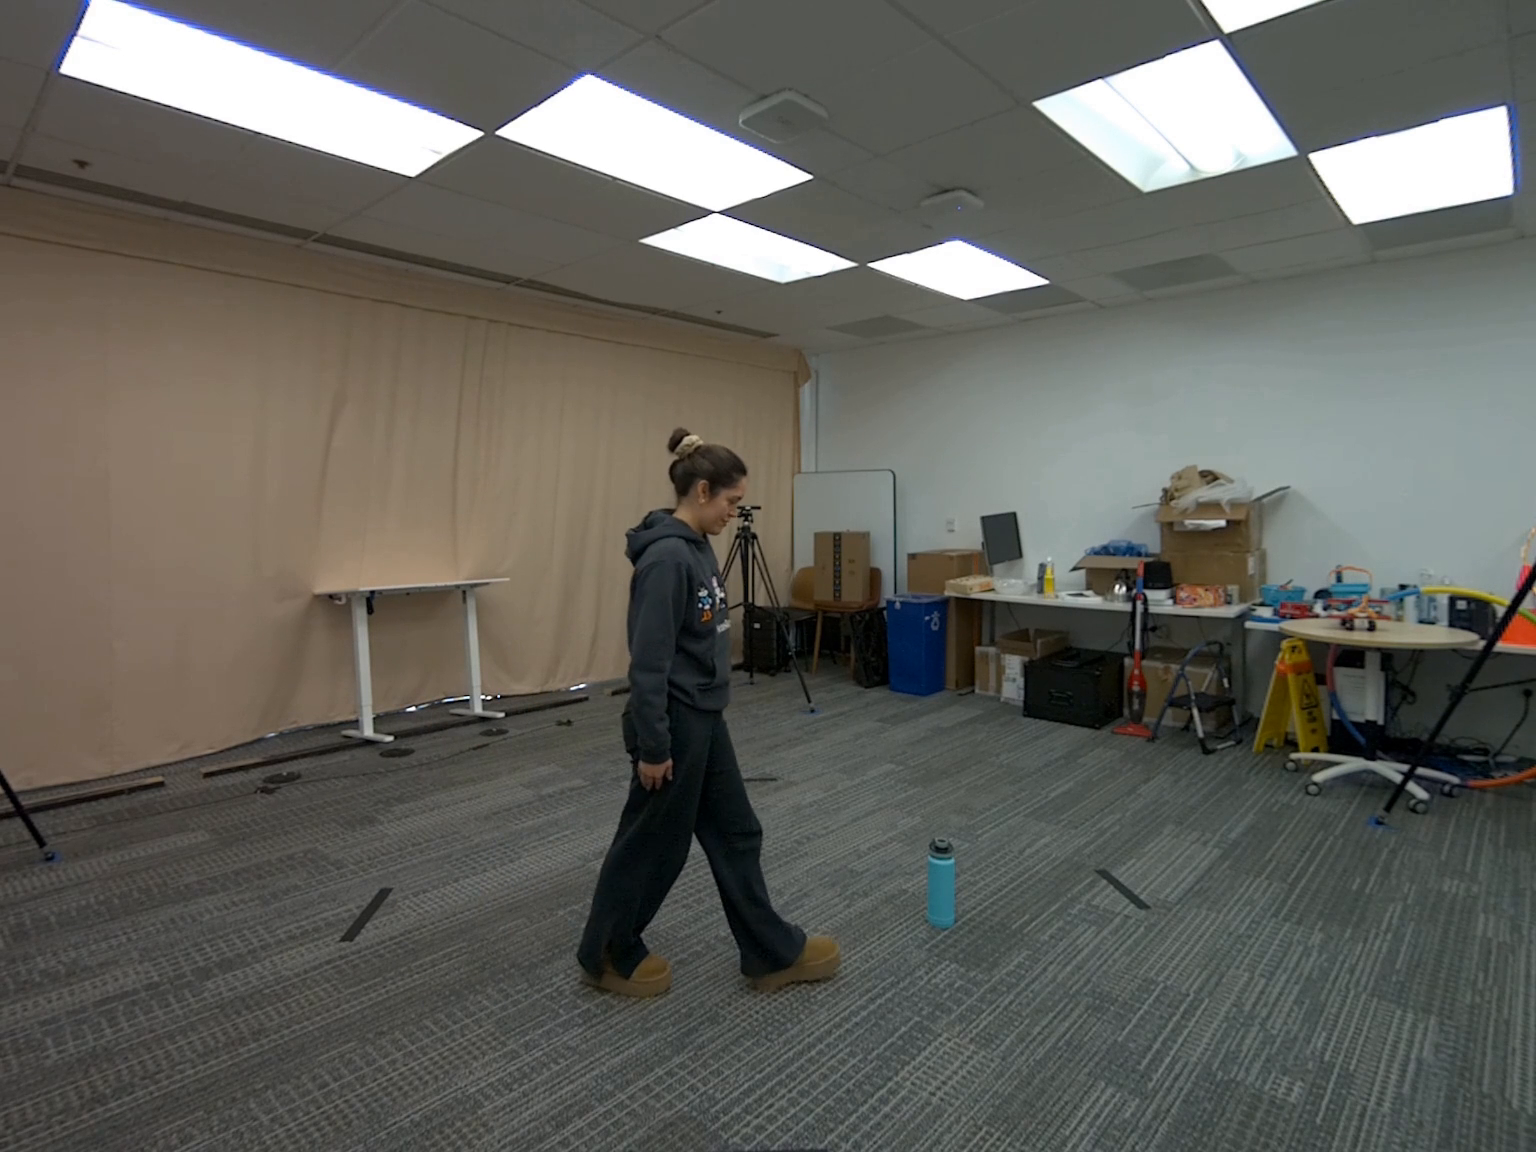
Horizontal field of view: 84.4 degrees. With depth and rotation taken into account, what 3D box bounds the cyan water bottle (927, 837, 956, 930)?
[{"bbox_3d":[0.602,1.009,2.797,0.092,0.283,0.092,-1,1,-2],"label":"cyan water bottle"}]
